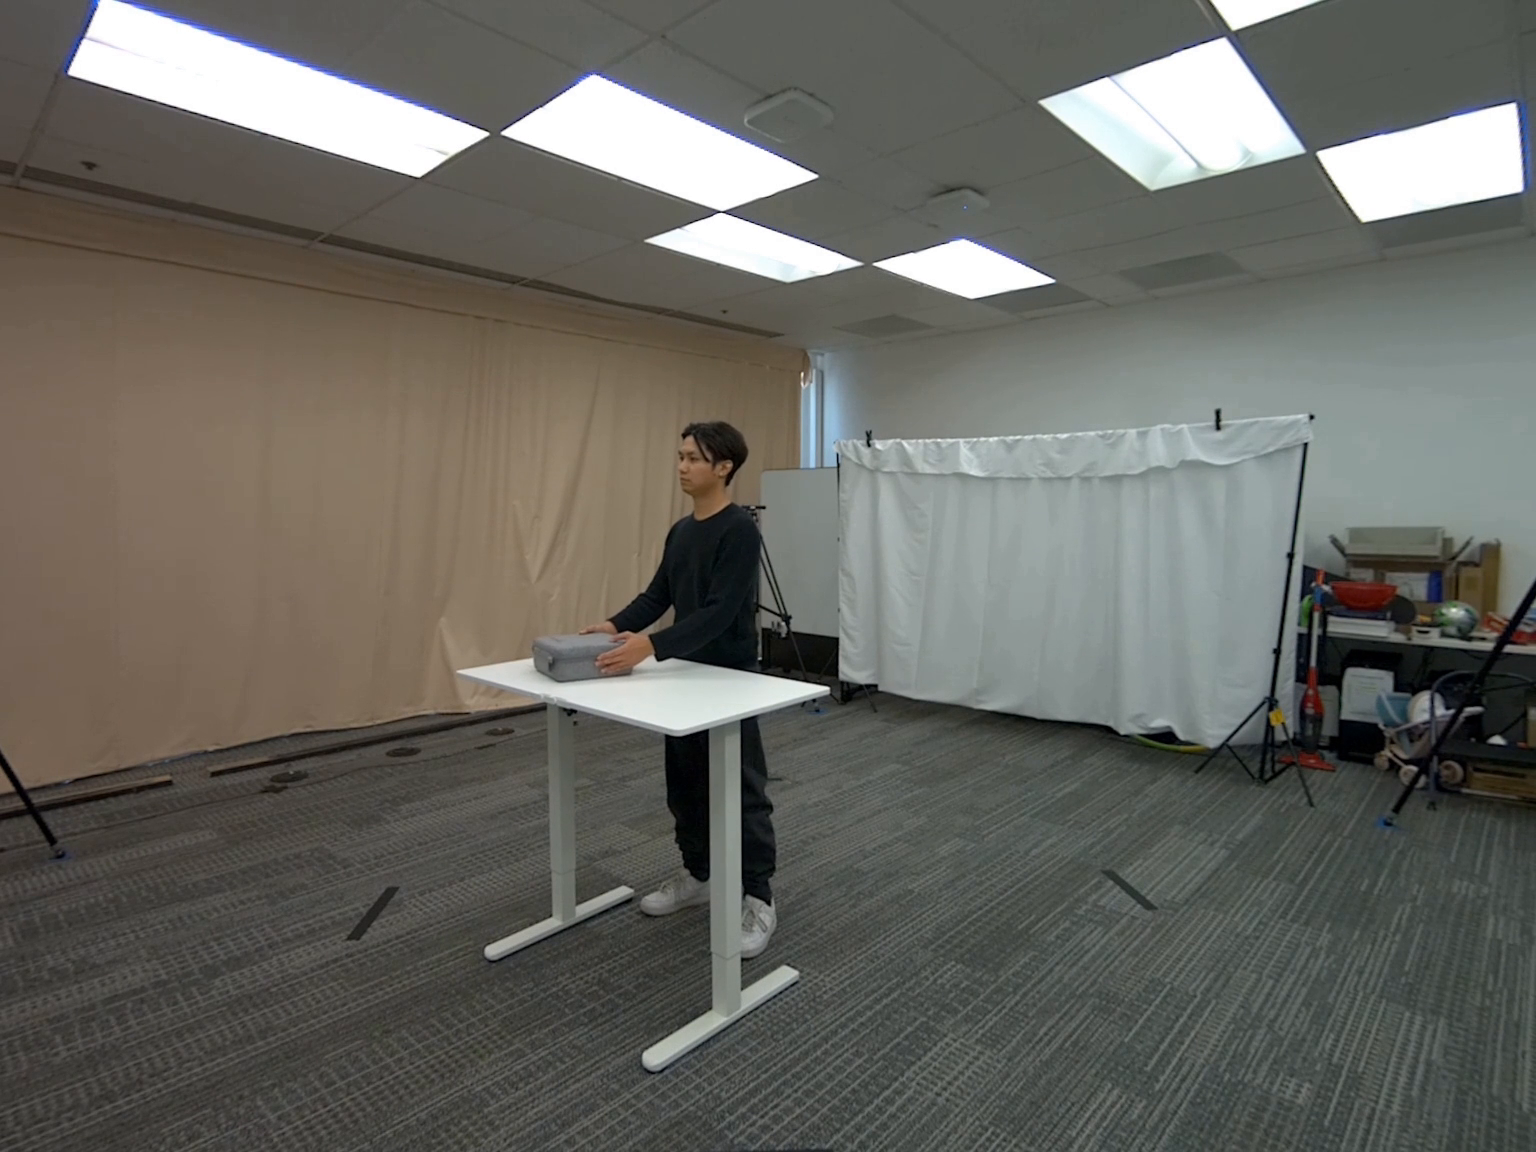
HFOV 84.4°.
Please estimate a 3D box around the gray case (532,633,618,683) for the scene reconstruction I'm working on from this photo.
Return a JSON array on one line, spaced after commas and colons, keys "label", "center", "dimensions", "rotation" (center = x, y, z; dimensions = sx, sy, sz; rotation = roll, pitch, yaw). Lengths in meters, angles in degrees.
[{"label": "gray case", "center": [-0.572, 0.246, 2.595], "dimensions": [0.253, 0.104, 0.265], "rotation": [-4, 6, -33]}]
